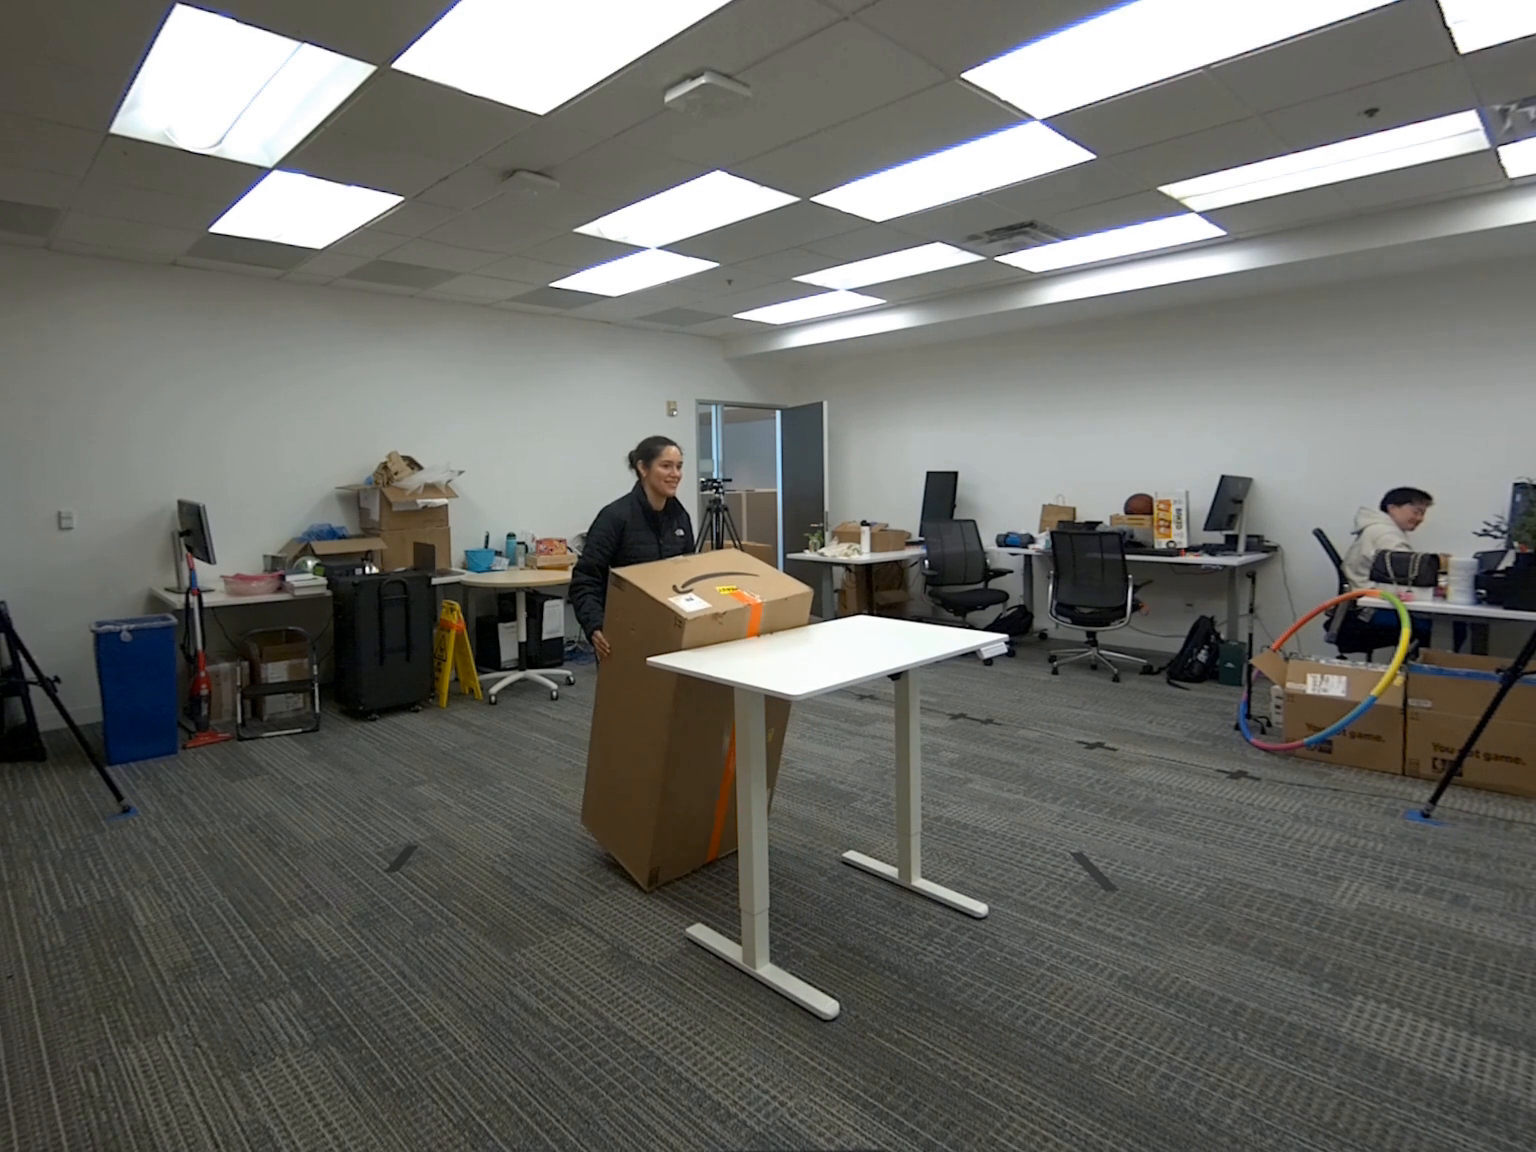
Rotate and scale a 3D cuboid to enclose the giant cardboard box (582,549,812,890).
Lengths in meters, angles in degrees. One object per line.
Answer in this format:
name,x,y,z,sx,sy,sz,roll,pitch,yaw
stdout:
giant cardboard box,-0.269,0.477,3.054,0.569,1.013,0.464,-8,26,-42
